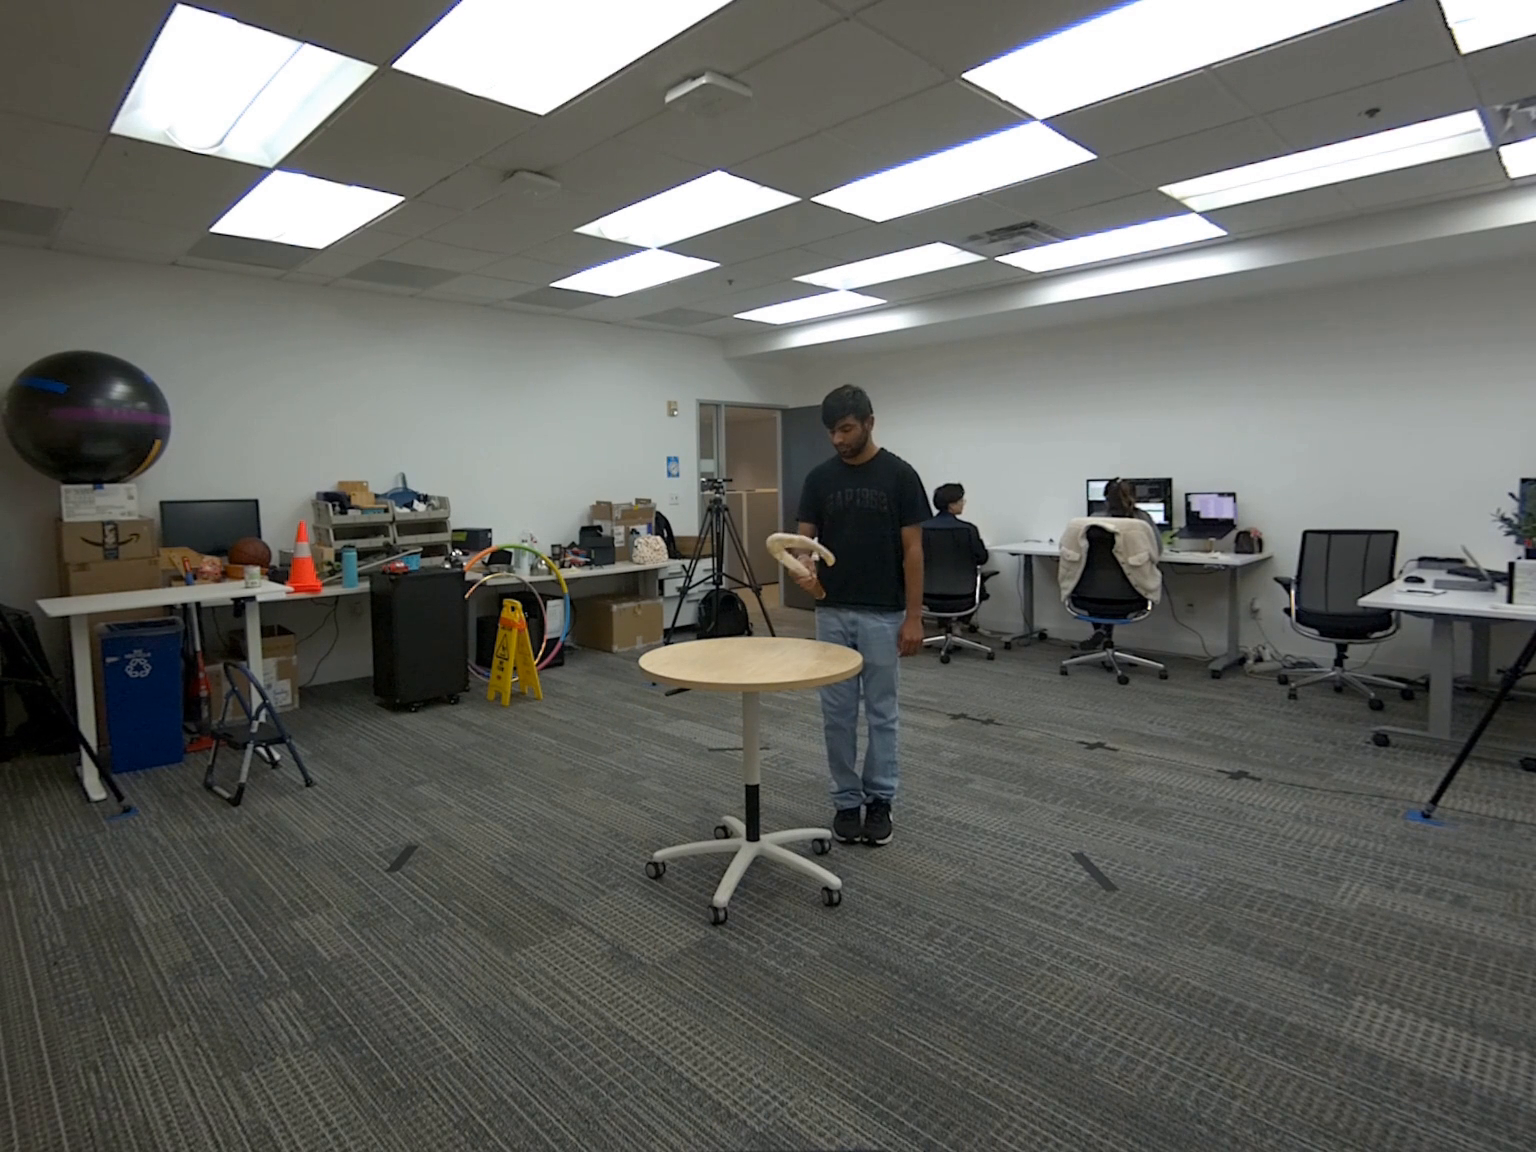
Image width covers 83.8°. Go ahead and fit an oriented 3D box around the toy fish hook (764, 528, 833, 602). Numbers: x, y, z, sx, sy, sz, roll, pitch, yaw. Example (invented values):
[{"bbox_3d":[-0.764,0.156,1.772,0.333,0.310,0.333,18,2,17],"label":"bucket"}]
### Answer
[{"bbox_3d":[0.181,-0.015,2.986,0.231,0.049,0.488,12,-20,28],"label":"toy fish hook"}]
